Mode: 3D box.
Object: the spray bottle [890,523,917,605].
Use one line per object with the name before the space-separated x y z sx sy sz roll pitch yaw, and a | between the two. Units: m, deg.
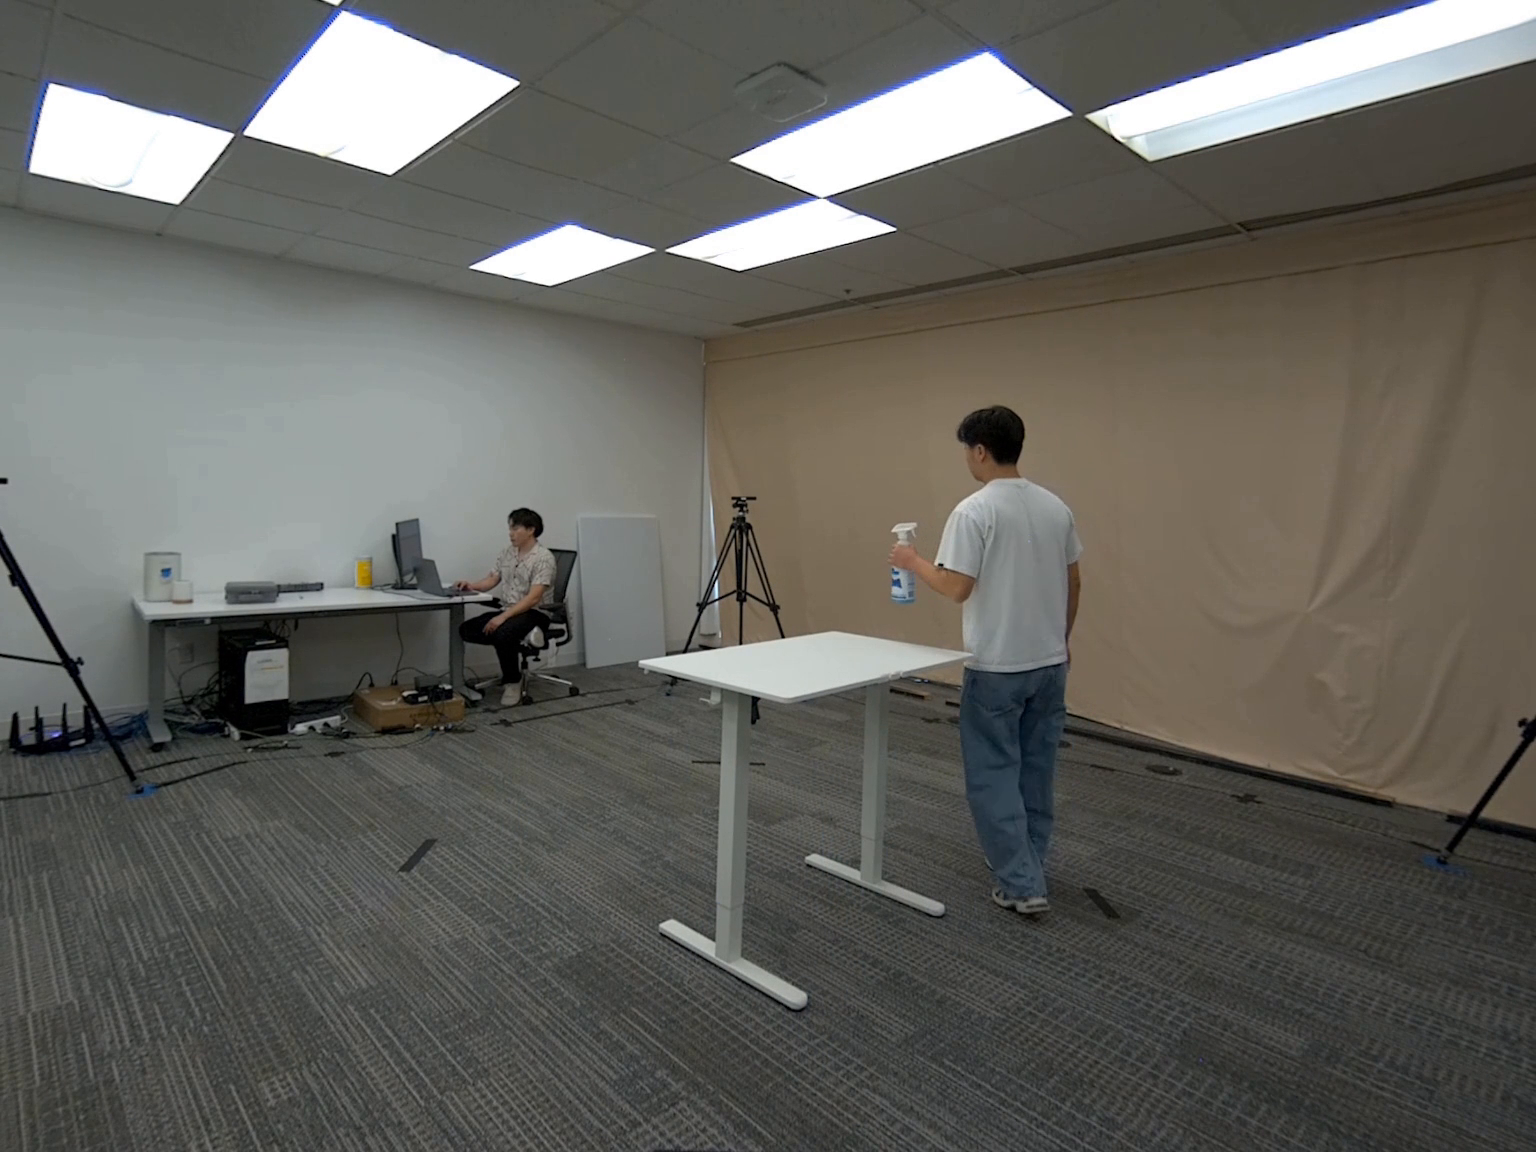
spray bottle | 0.507 -0.048 3.147 0.092 0.295 0.086 7 11 27
